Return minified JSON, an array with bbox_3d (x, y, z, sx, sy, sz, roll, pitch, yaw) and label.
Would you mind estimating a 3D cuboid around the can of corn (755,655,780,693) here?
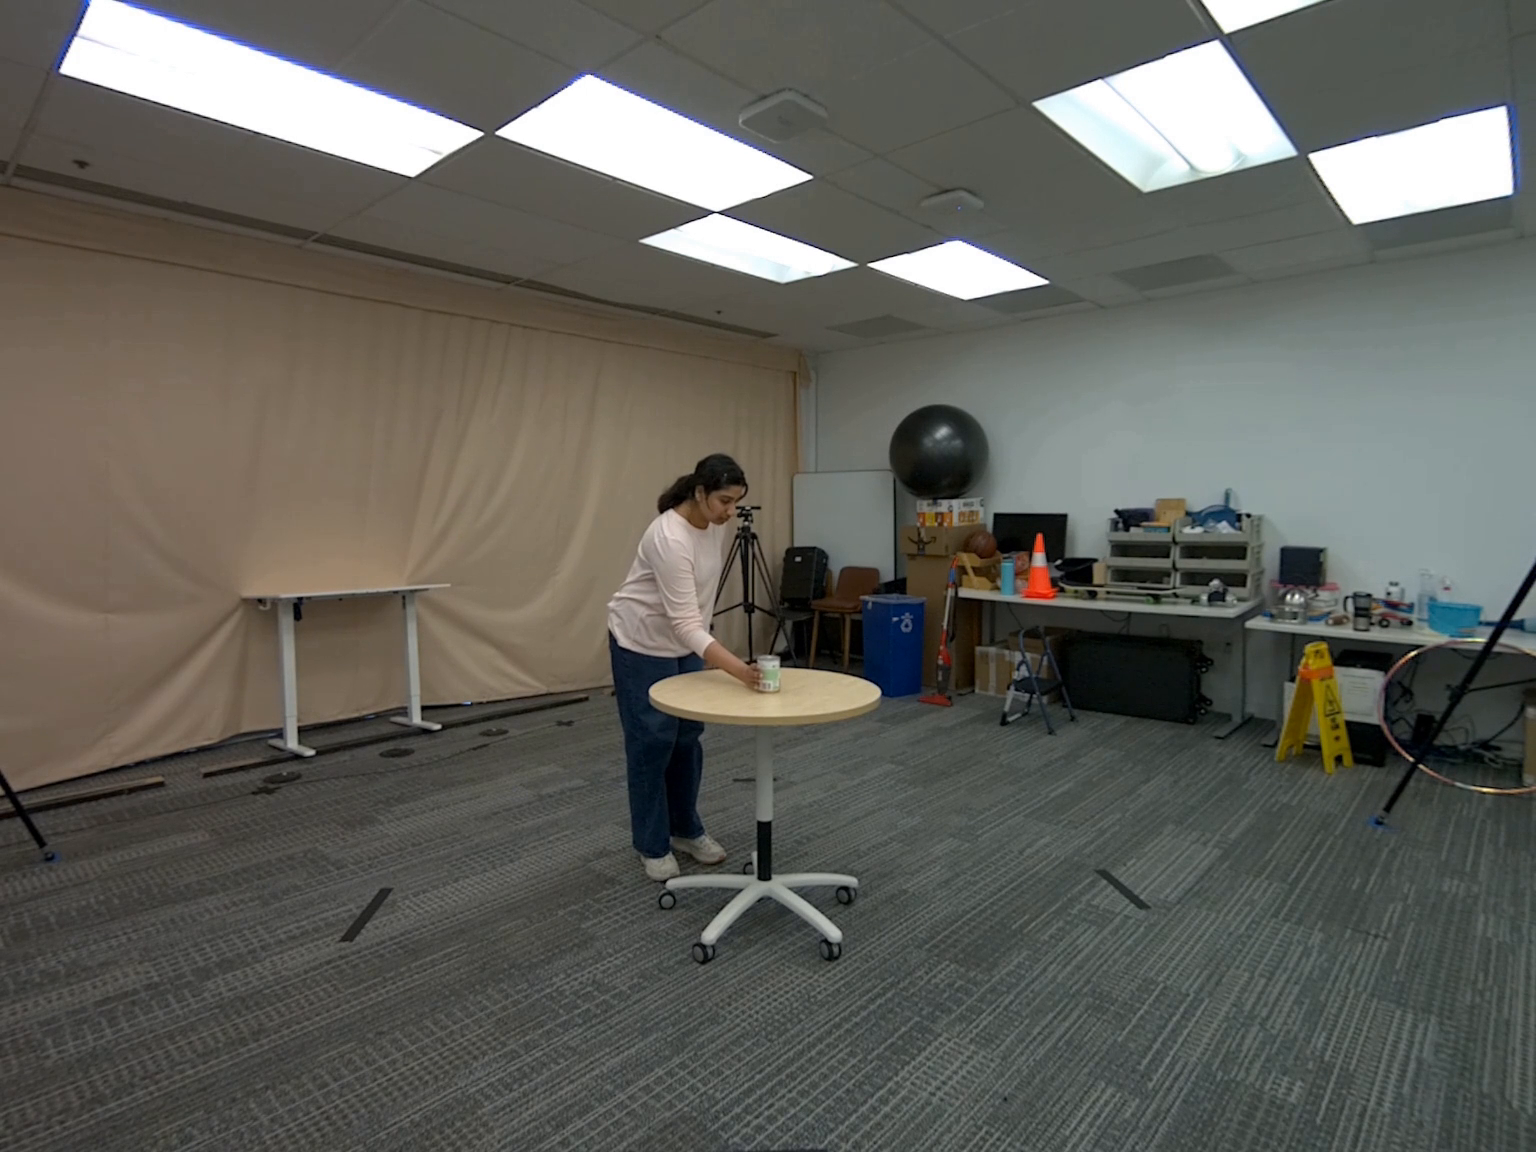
[{"bbox_3d":[0.004,0.323,2.754,0.074,0.111,0.074,-4,4,-2],"label":"can of corn"}]
